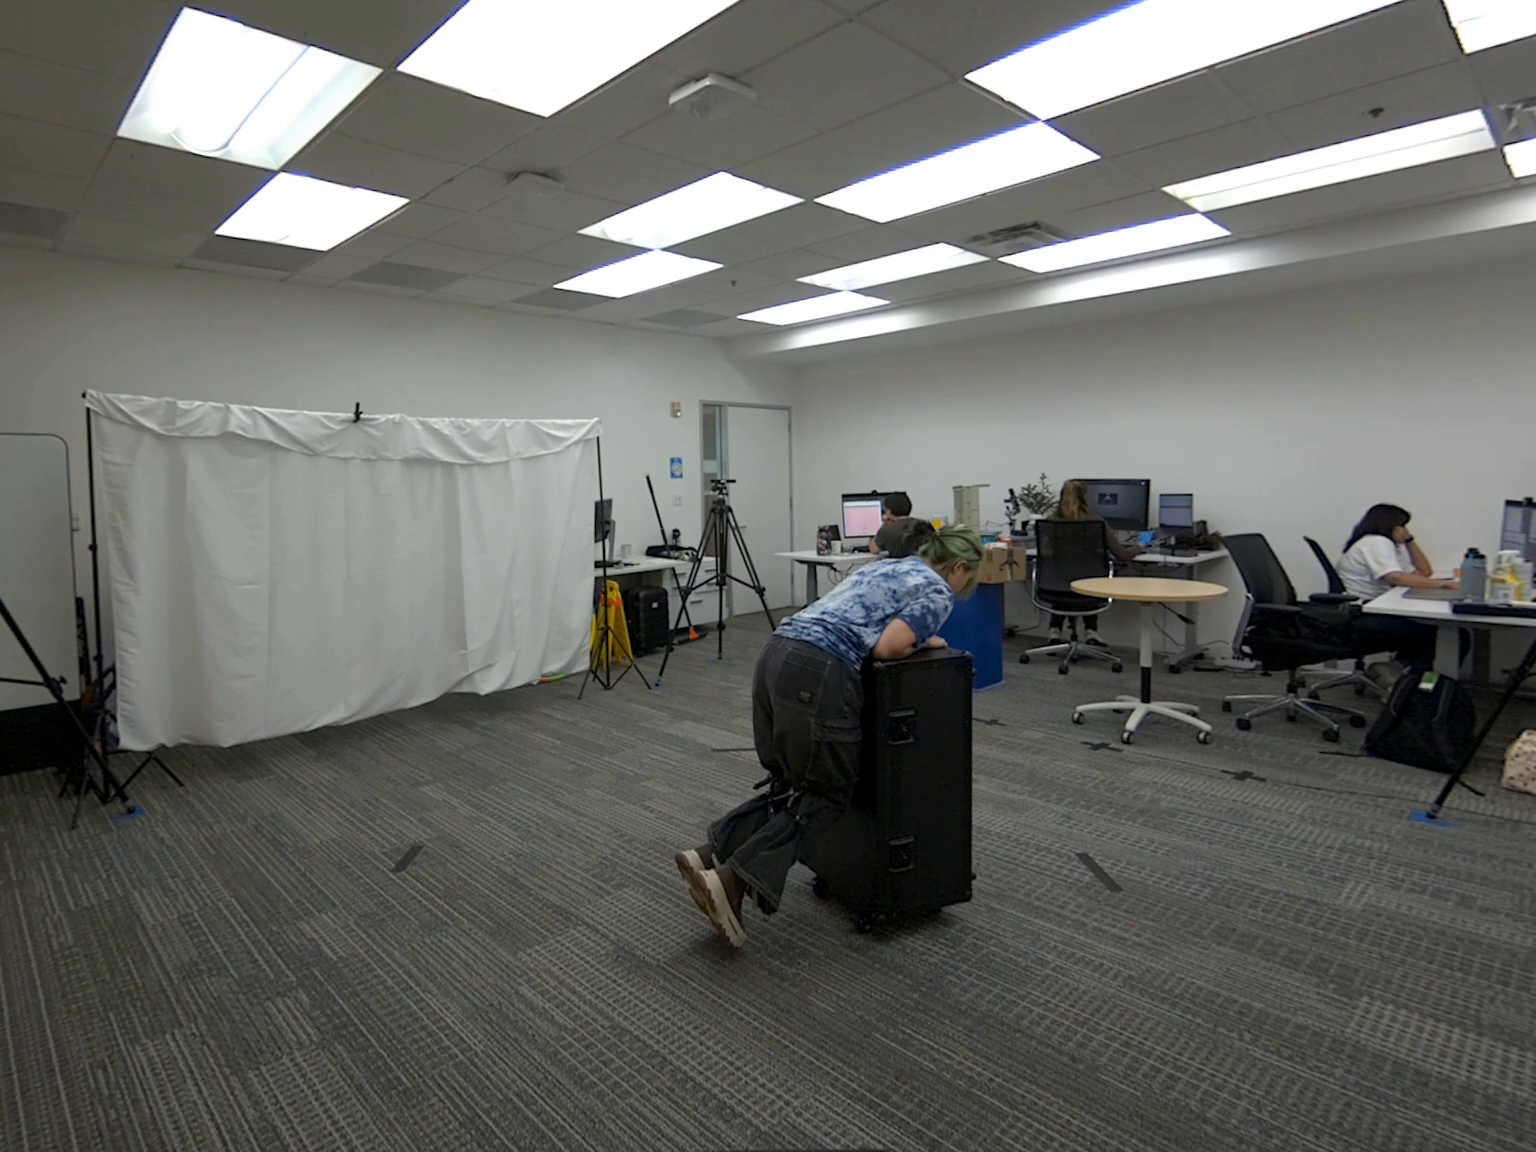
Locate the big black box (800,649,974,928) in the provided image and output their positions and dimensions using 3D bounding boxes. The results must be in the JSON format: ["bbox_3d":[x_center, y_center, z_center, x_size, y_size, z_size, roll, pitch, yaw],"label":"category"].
[{"bbox_3d":[0.384,0.599,2.796,0.388,0.858,0.534,-2,5,-26],"label":"big black box"}]
